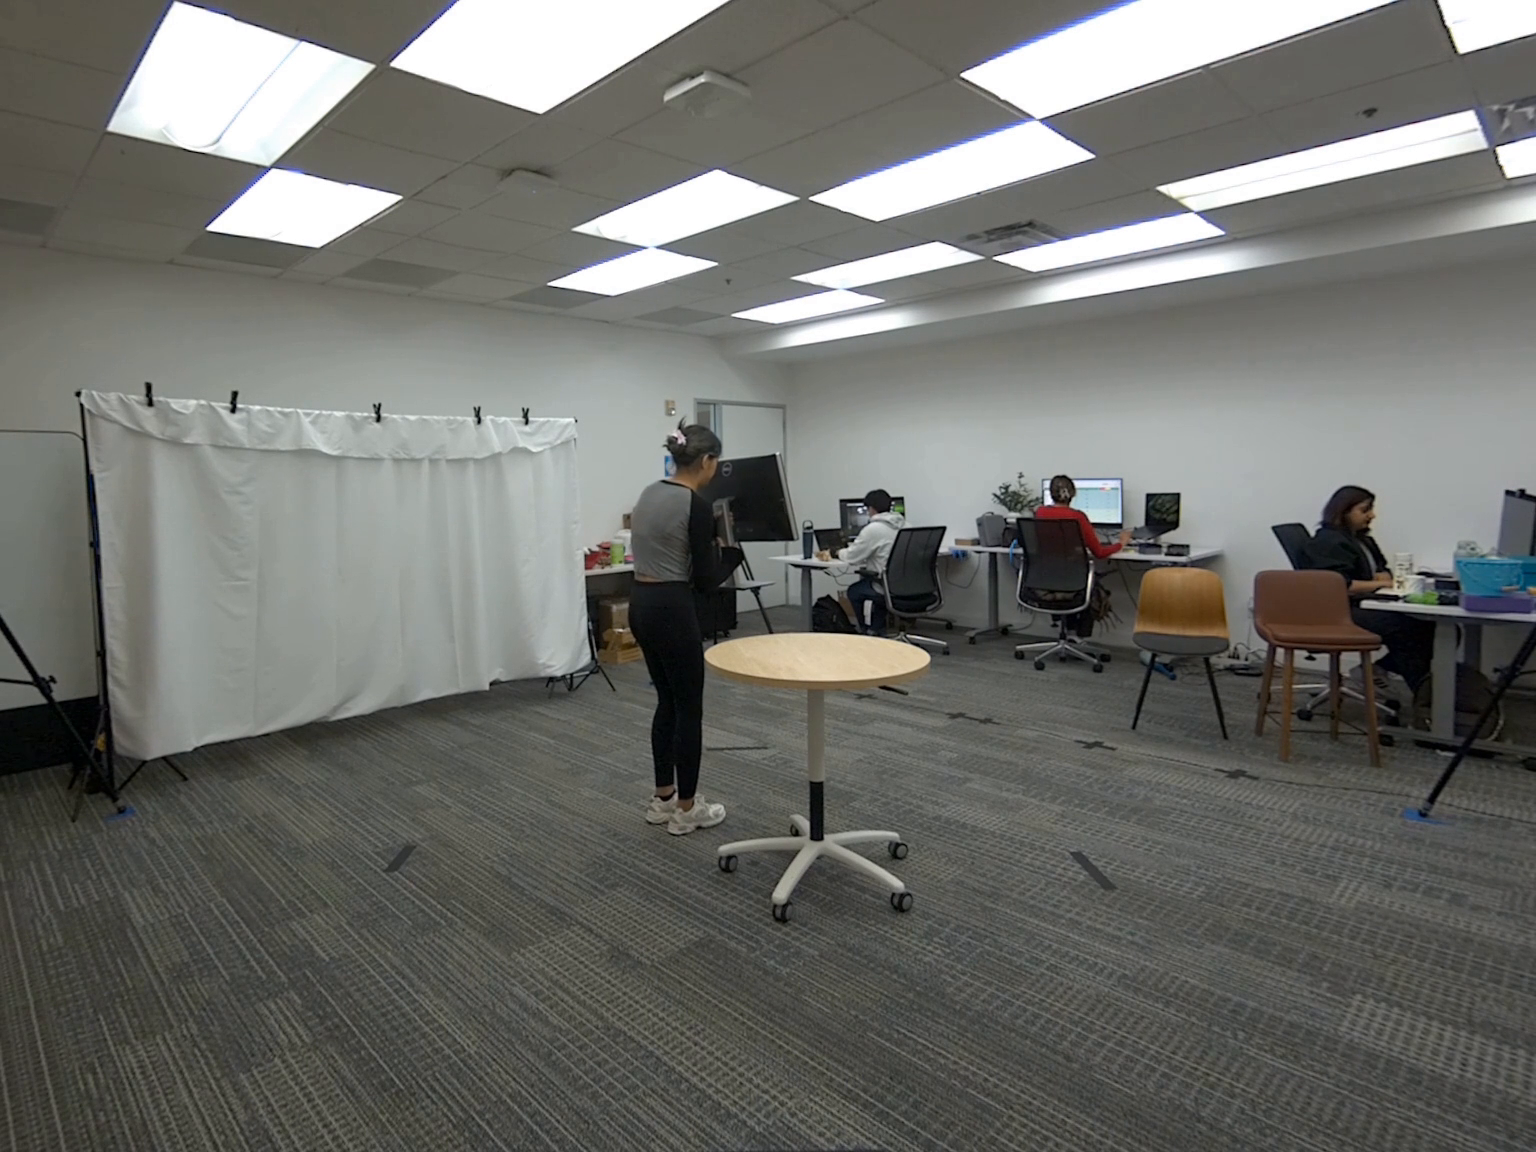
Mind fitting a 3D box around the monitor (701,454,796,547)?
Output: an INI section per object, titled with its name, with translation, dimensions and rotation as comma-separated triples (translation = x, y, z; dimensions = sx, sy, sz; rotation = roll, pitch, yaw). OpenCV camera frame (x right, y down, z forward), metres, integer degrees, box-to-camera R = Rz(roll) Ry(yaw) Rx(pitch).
[monitor]
translation = -0.136, -0.225, 3.581
dimensions = 0.555, 0.521, 0.182
rotation = 1, 6, 44
